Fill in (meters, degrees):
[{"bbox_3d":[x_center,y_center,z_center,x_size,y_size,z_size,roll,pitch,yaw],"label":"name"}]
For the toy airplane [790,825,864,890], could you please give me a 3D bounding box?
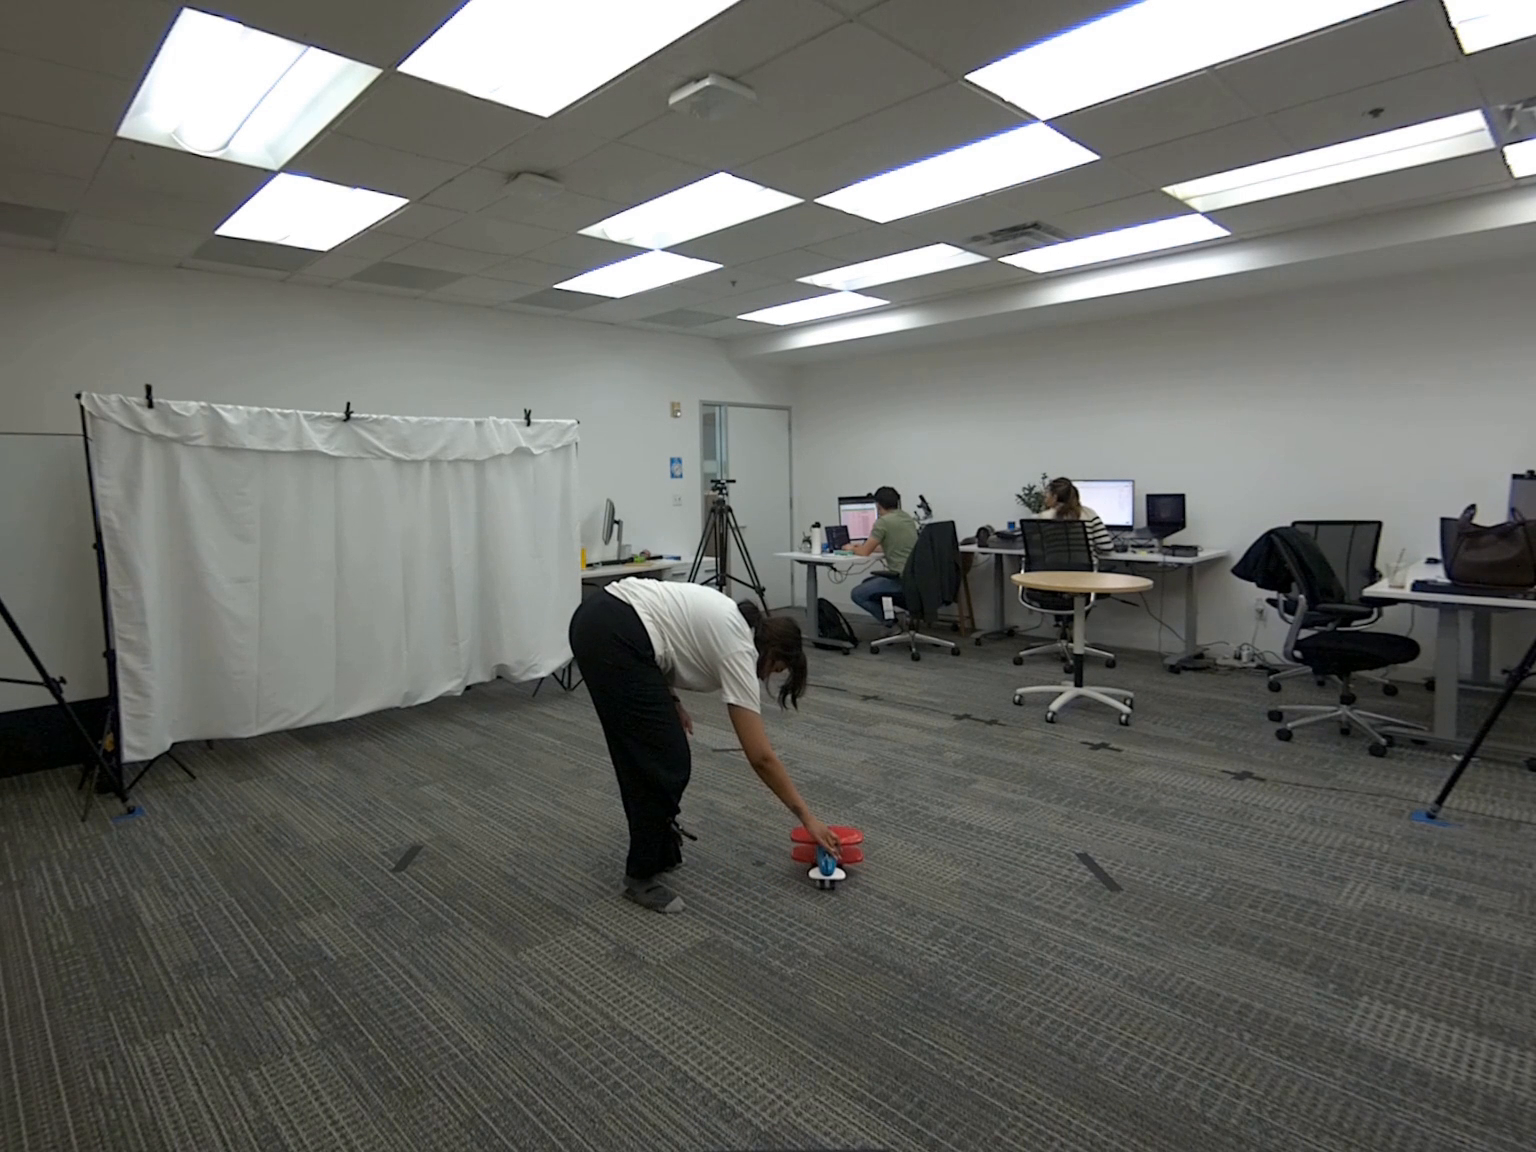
[{"bbox_3d":[0.226,0.977,2.991,0.246,0.156,0.265,-2,5,-23],"label":"toy airplane"}]
